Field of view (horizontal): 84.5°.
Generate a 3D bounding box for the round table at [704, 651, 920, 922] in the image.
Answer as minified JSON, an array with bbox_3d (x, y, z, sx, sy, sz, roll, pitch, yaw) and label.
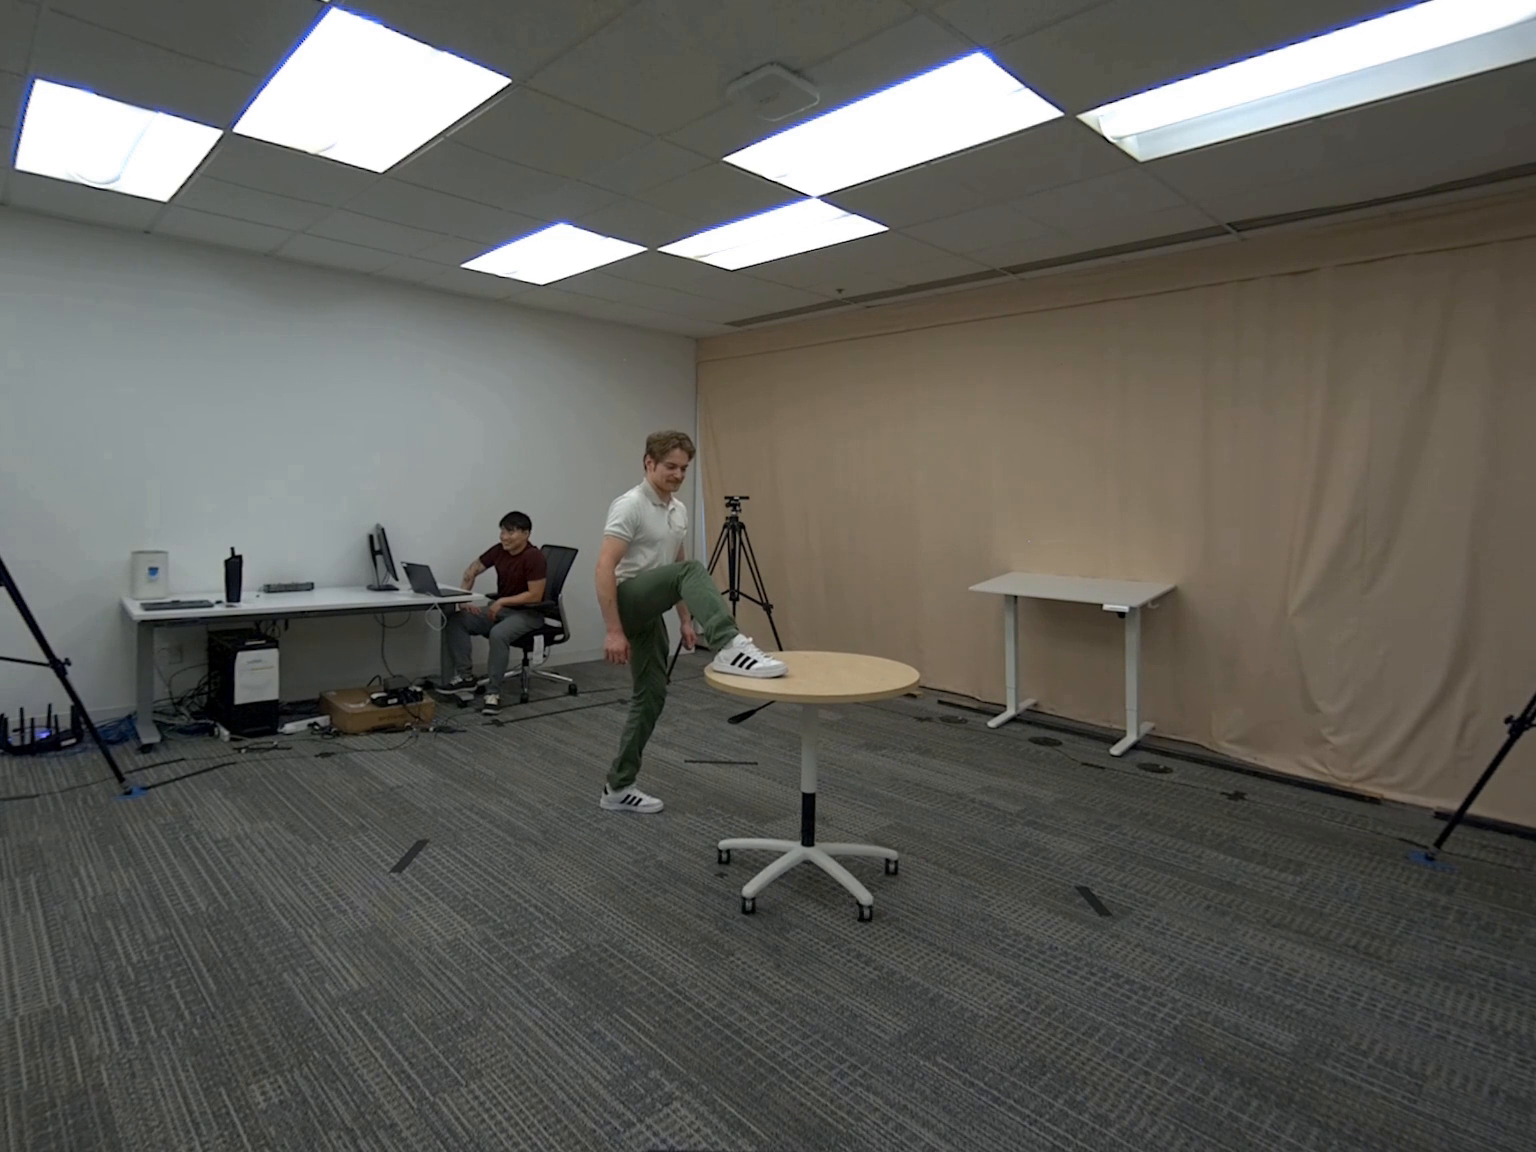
[{"bbox_3d":[0.142,0.731,3.040,0.763,0.792,0.766,1,4,-1],"label":"round table"}]
